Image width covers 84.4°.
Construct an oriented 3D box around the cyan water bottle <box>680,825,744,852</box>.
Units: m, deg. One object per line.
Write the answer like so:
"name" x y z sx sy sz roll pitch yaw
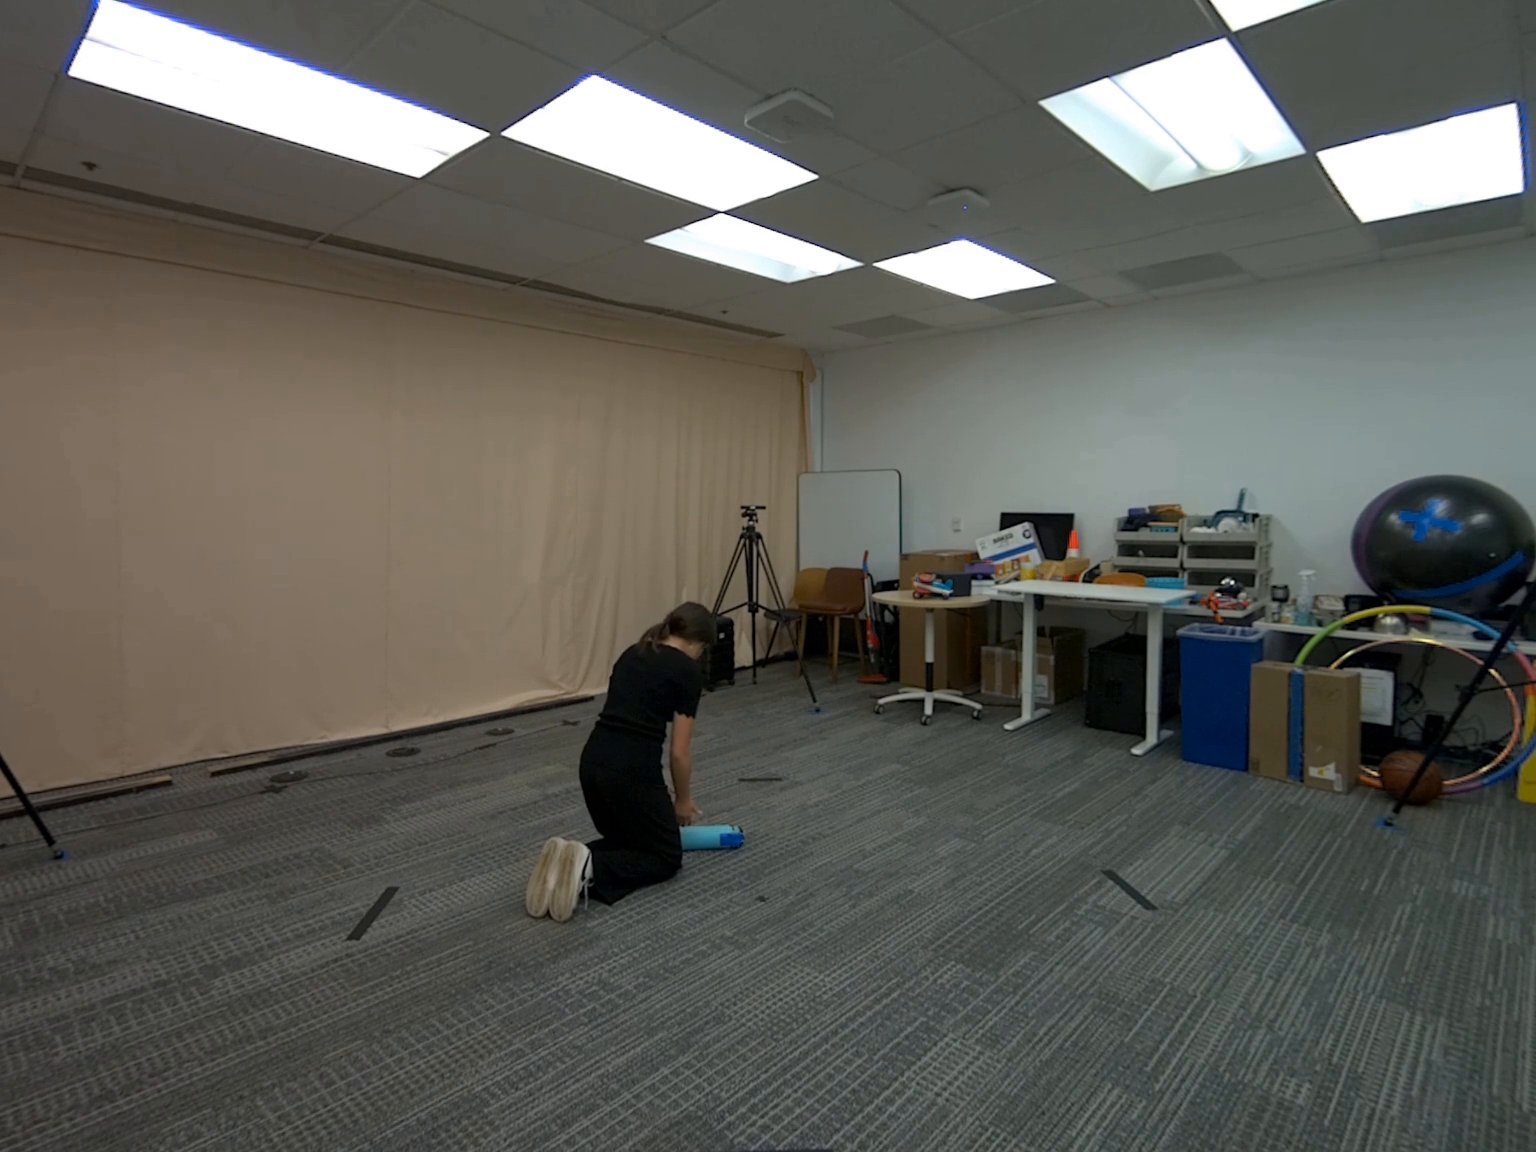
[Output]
"cyan water bottle" -0.231 1.060 3.422 0.282 0.092 0.093 -1 4 -4
